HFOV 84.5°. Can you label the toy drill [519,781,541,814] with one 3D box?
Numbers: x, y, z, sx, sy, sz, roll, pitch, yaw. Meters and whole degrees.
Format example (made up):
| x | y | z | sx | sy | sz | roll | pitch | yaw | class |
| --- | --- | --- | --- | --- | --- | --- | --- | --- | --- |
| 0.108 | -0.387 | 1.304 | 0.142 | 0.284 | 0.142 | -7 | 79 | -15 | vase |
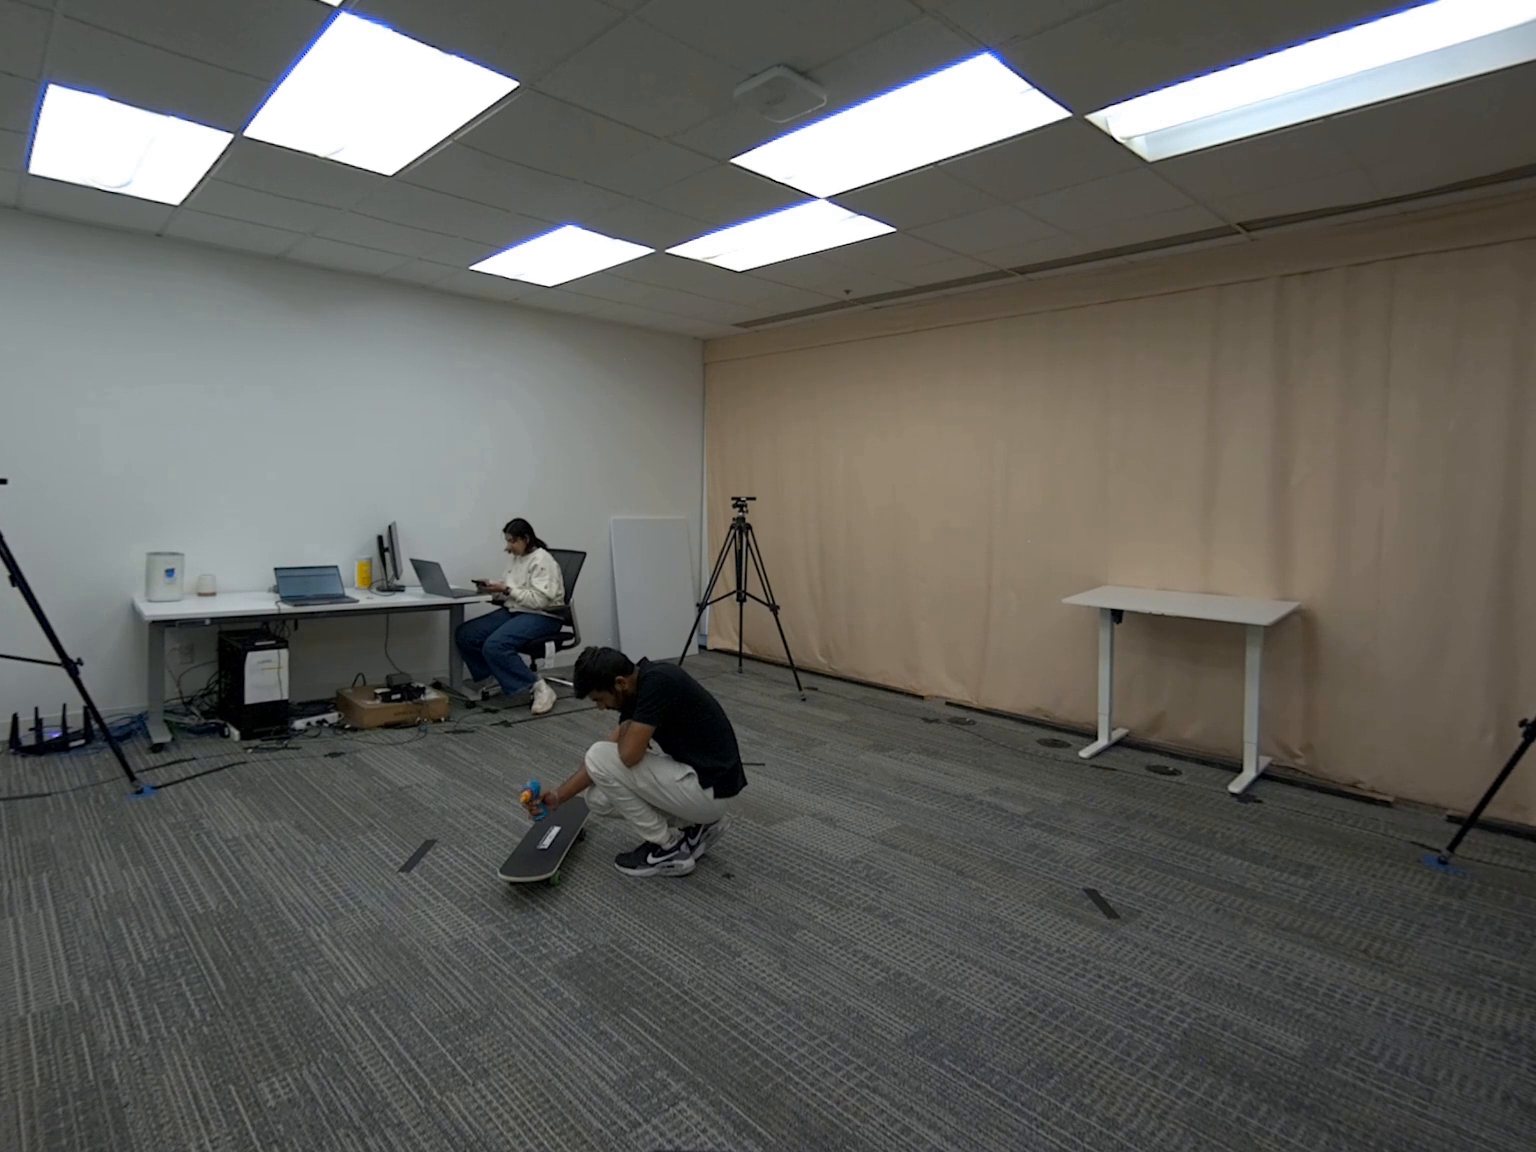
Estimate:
| x | y | z | sx | sy | sz | roll | pitch | yaw | class |
| --- | --- | --- | --- | --- | --- | --- | --- | --- | --- |
| -0.856 | 0.822 | 3.044 | 0.061 | 0.145 | 0.170 | -13 | 4 | 3 | toy drill |
